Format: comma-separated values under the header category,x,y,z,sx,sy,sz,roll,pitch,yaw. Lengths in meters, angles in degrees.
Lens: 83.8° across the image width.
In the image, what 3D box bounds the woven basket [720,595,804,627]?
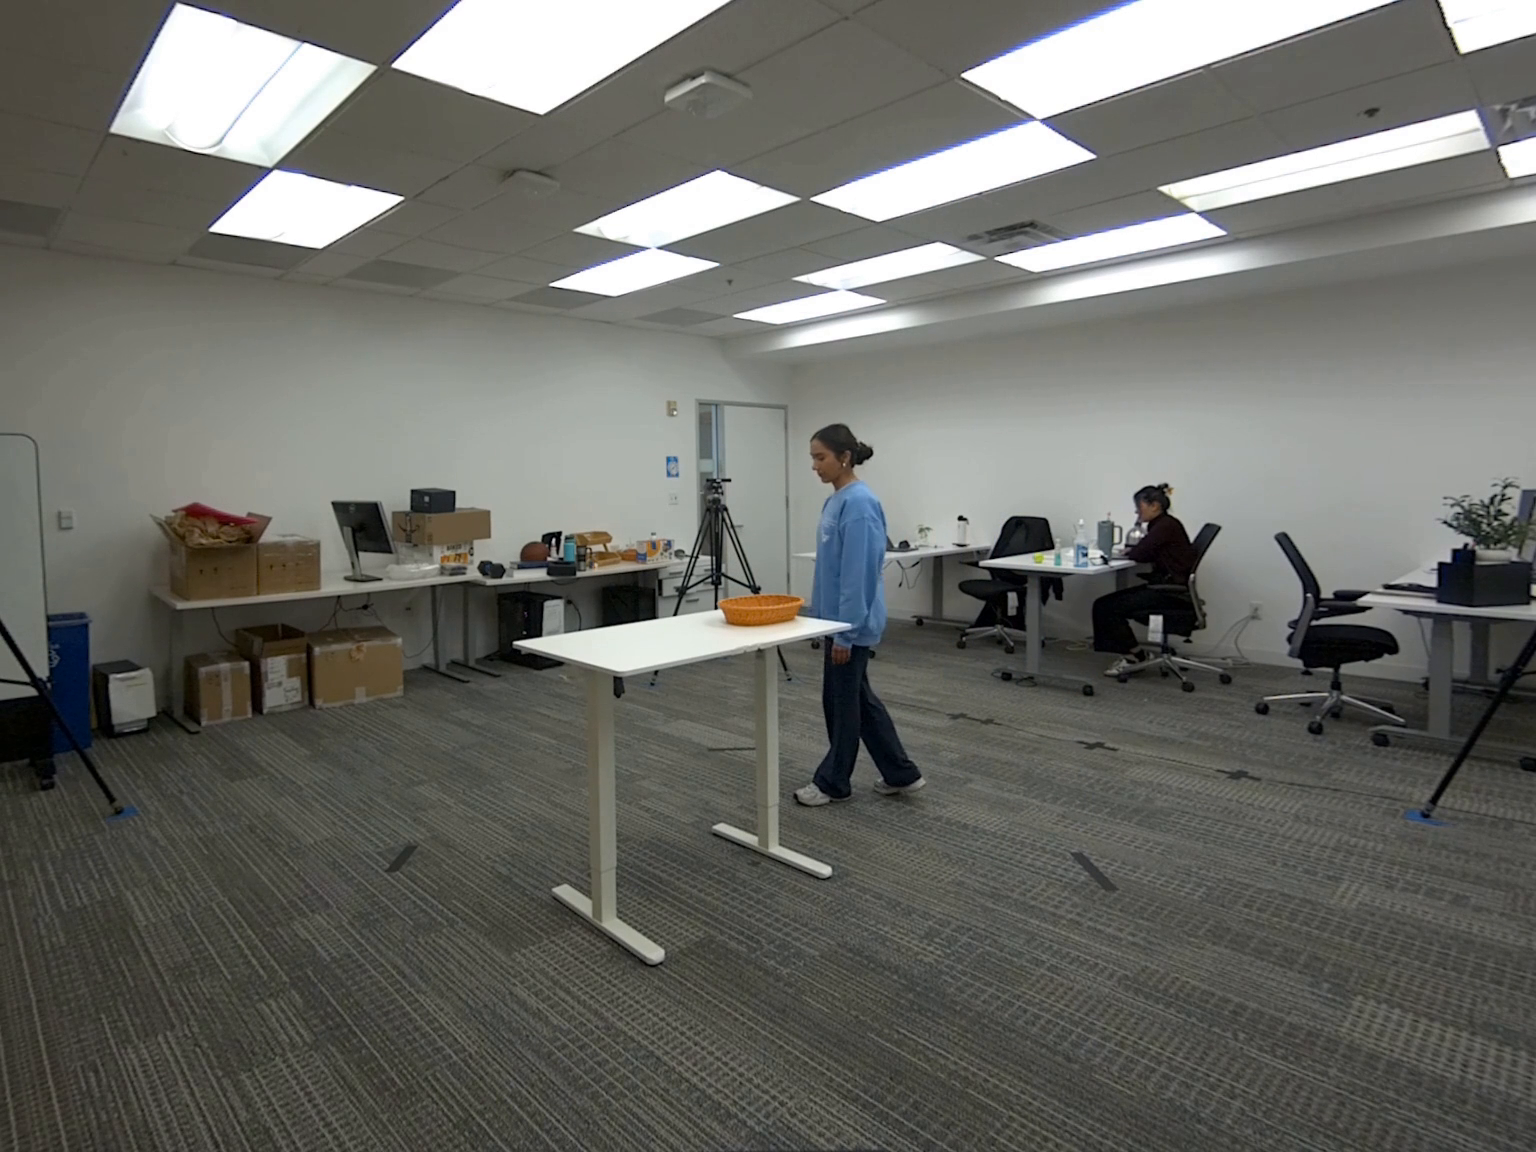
category,x,y,z,sx,sy,sz,roll,pitch,yaw
woven basket,-0.026,0.131,3.116,0.341,0.073,0.260,-5,9,-40
